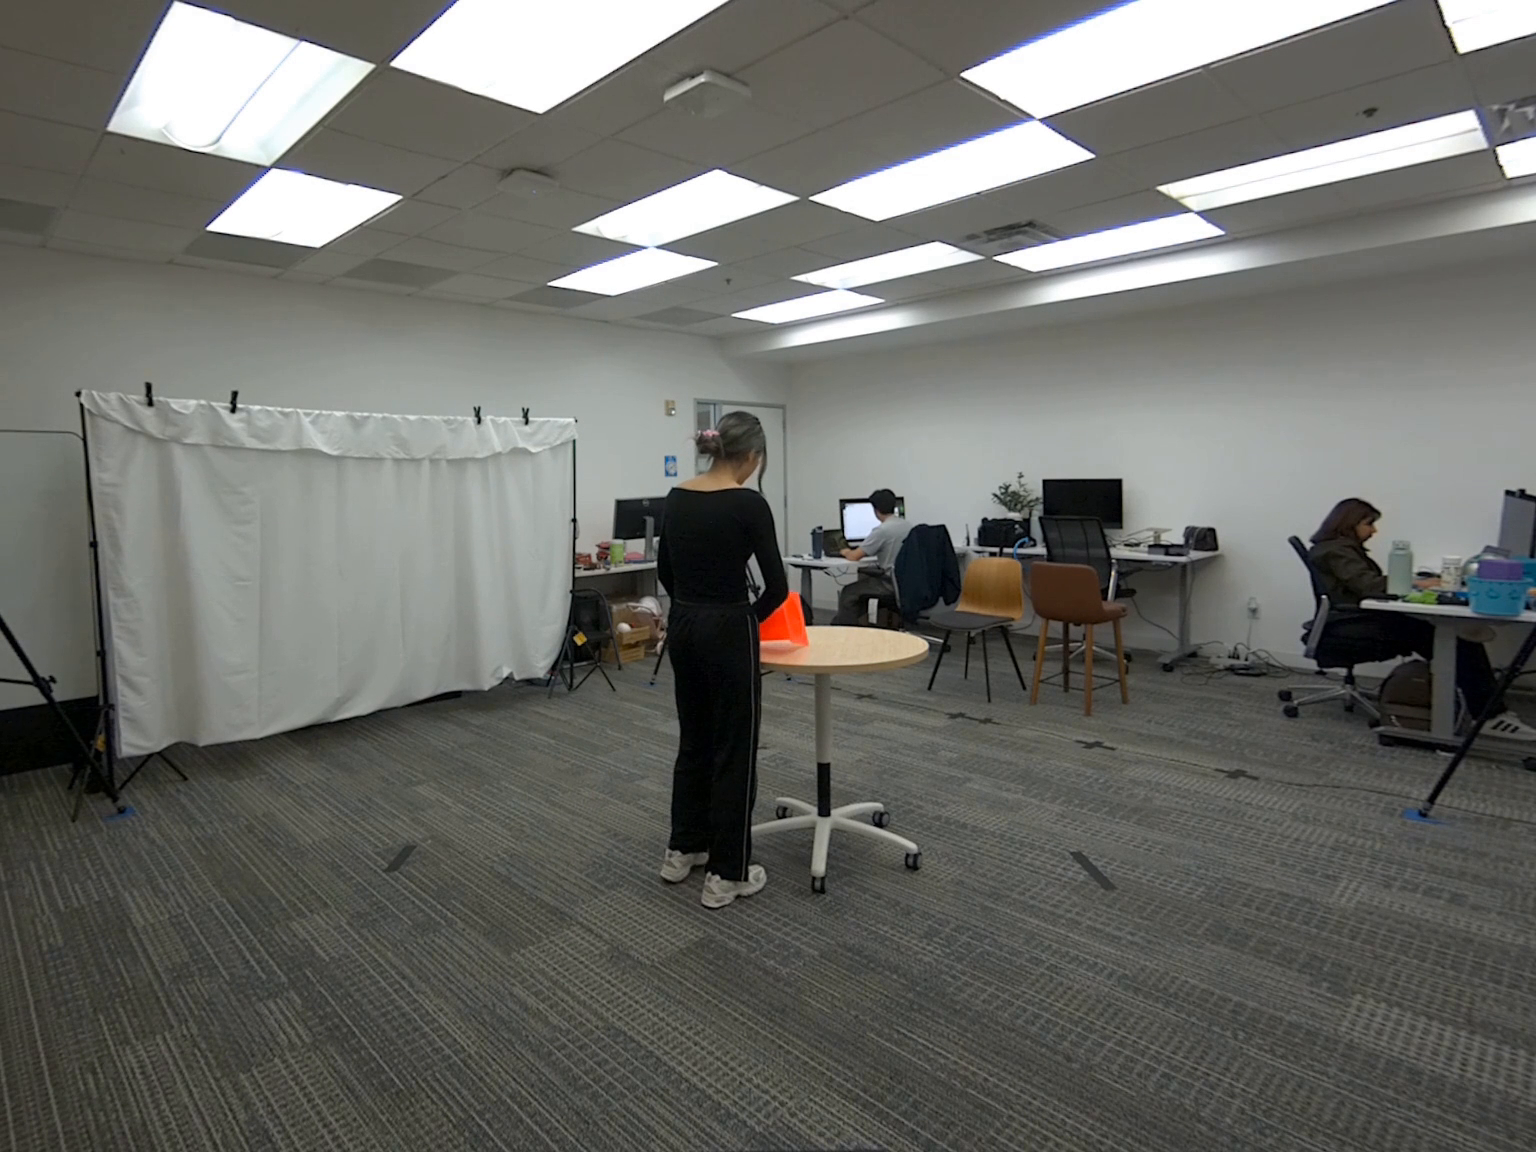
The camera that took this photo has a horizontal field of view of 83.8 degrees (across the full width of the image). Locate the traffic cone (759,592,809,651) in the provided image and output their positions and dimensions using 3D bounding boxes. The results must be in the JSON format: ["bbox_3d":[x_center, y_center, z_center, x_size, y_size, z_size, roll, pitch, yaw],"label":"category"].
[{"bbox_3d":[-0.072,0.200,3.116,0.388,0.209,0.197,-17,-17,20],"label":"traffic cone"}]
